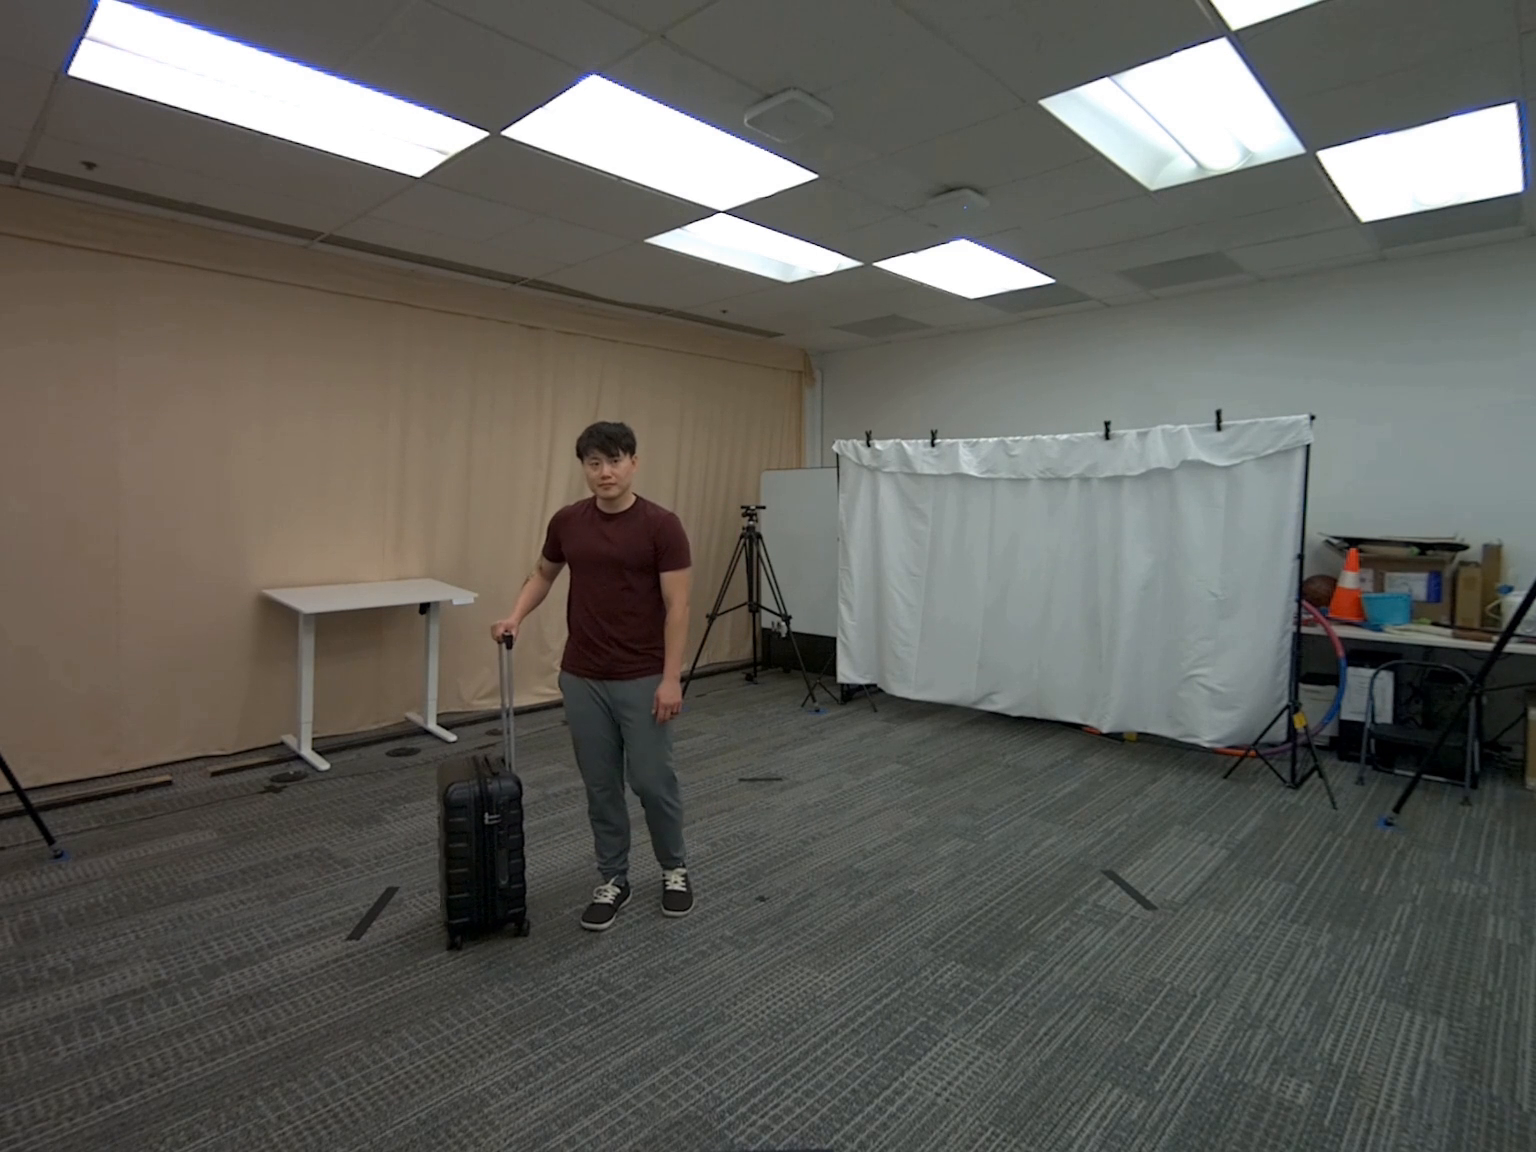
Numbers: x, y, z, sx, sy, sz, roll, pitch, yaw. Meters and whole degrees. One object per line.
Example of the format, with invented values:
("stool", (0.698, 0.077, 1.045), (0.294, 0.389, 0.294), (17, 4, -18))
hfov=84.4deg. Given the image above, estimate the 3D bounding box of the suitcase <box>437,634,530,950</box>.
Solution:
("suitcase", (-0.968, 0.695, 2.781), (0.251, 0.975, 0.394), (-4, 6, -23))
